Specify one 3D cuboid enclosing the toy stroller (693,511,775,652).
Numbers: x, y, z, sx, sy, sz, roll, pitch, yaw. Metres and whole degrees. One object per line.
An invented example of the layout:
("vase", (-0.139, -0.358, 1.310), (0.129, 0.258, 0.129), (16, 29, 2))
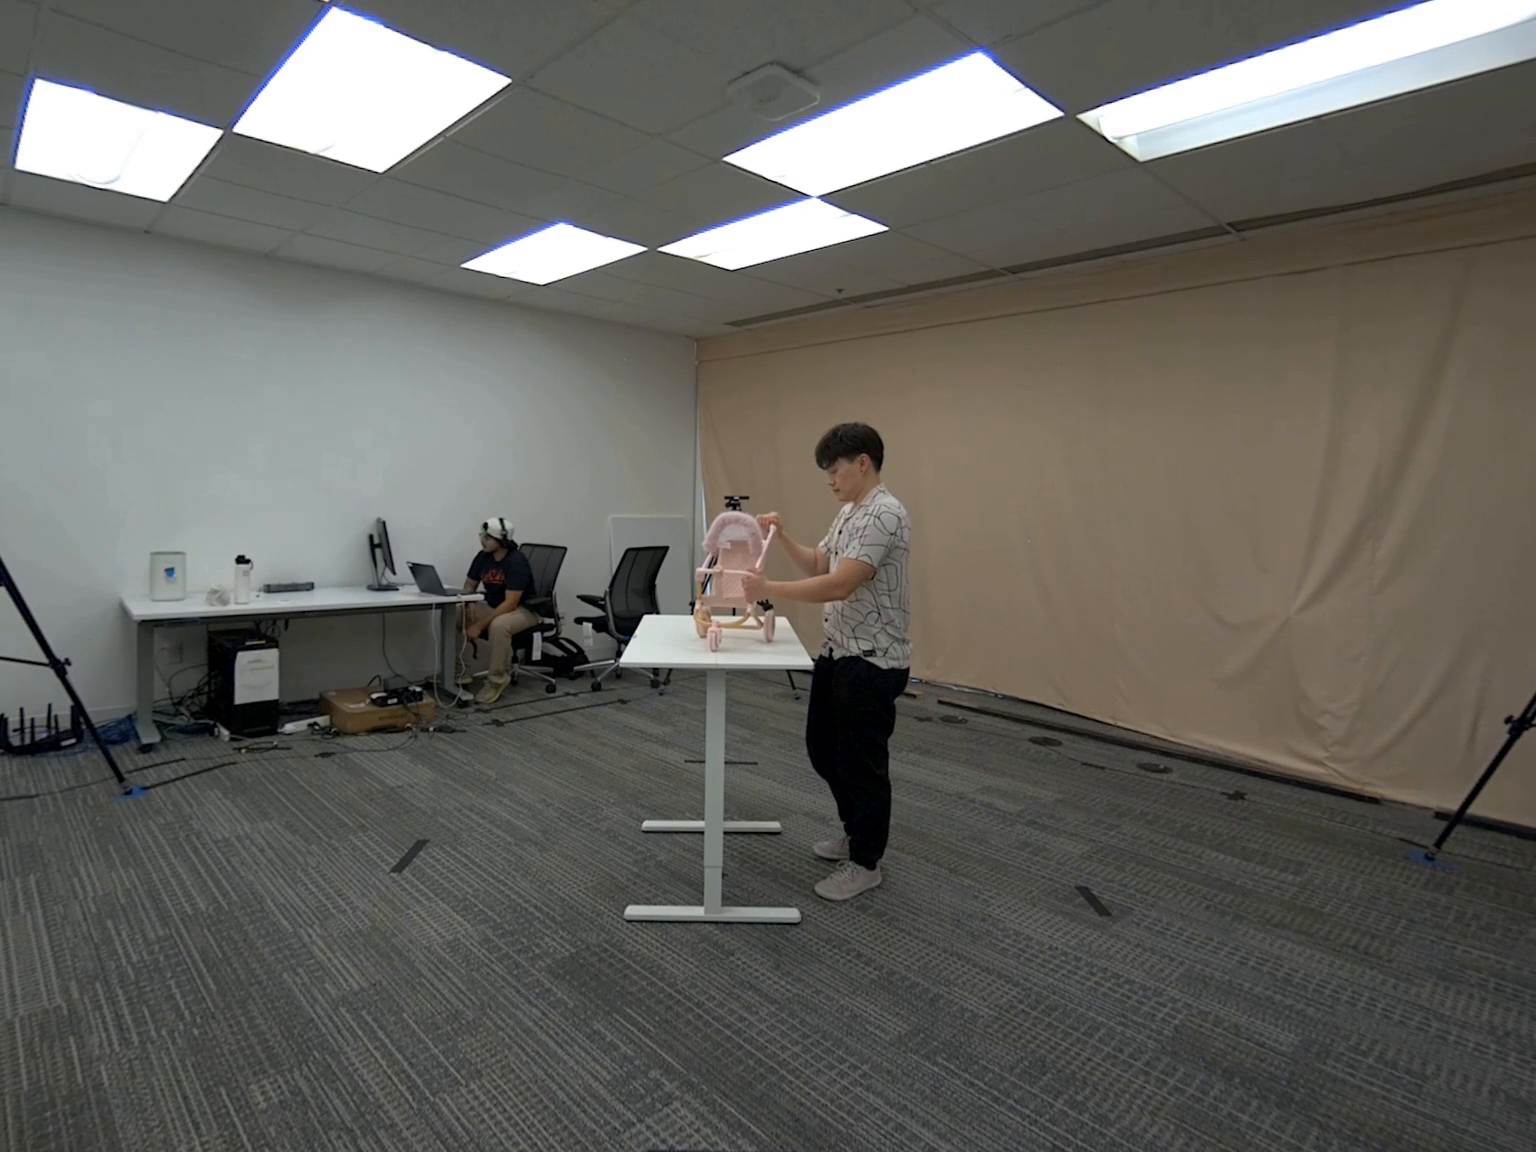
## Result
("toy stroller", (-0.127, 0.010, 2.973), (0.286, 0.539, 0.333), (3, -11, 20))
